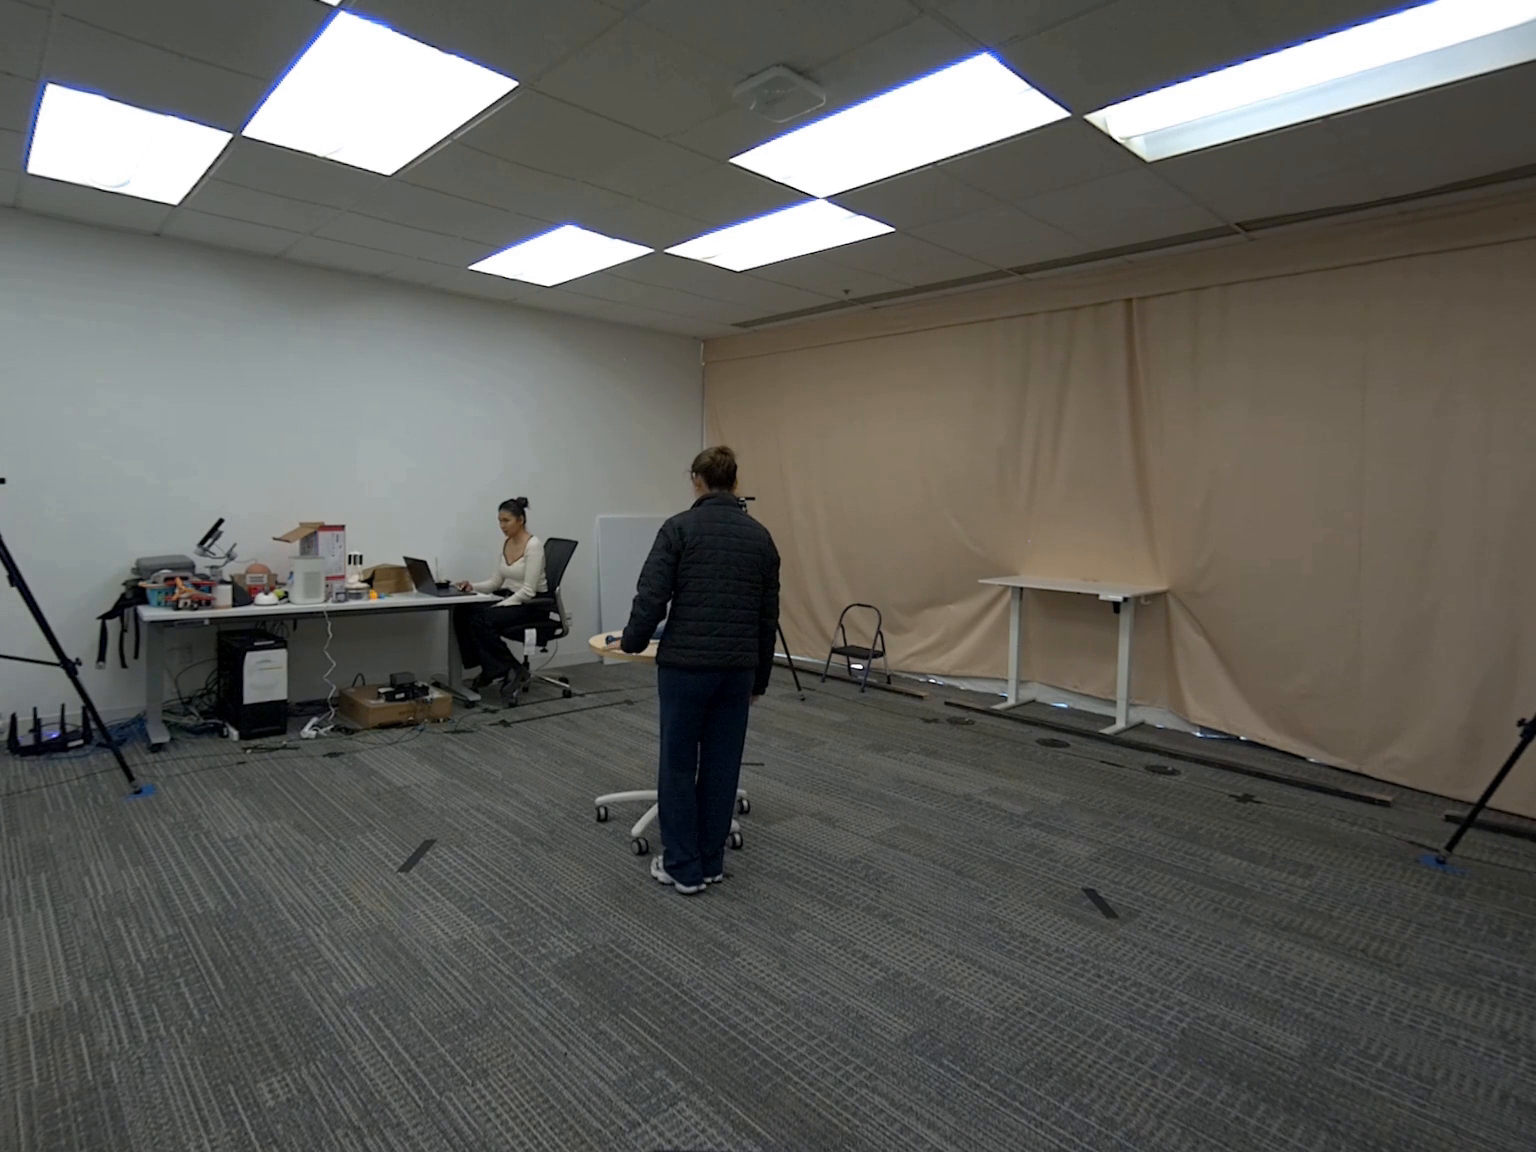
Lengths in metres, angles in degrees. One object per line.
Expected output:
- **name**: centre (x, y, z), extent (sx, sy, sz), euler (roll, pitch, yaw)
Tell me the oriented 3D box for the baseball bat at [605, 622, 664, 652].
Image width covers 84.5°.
- **baseball bat**: centre (-0.447, 0.246, 3.506), extent (0.531, 0.089, 0.091), euler (-6, 8, -44)
